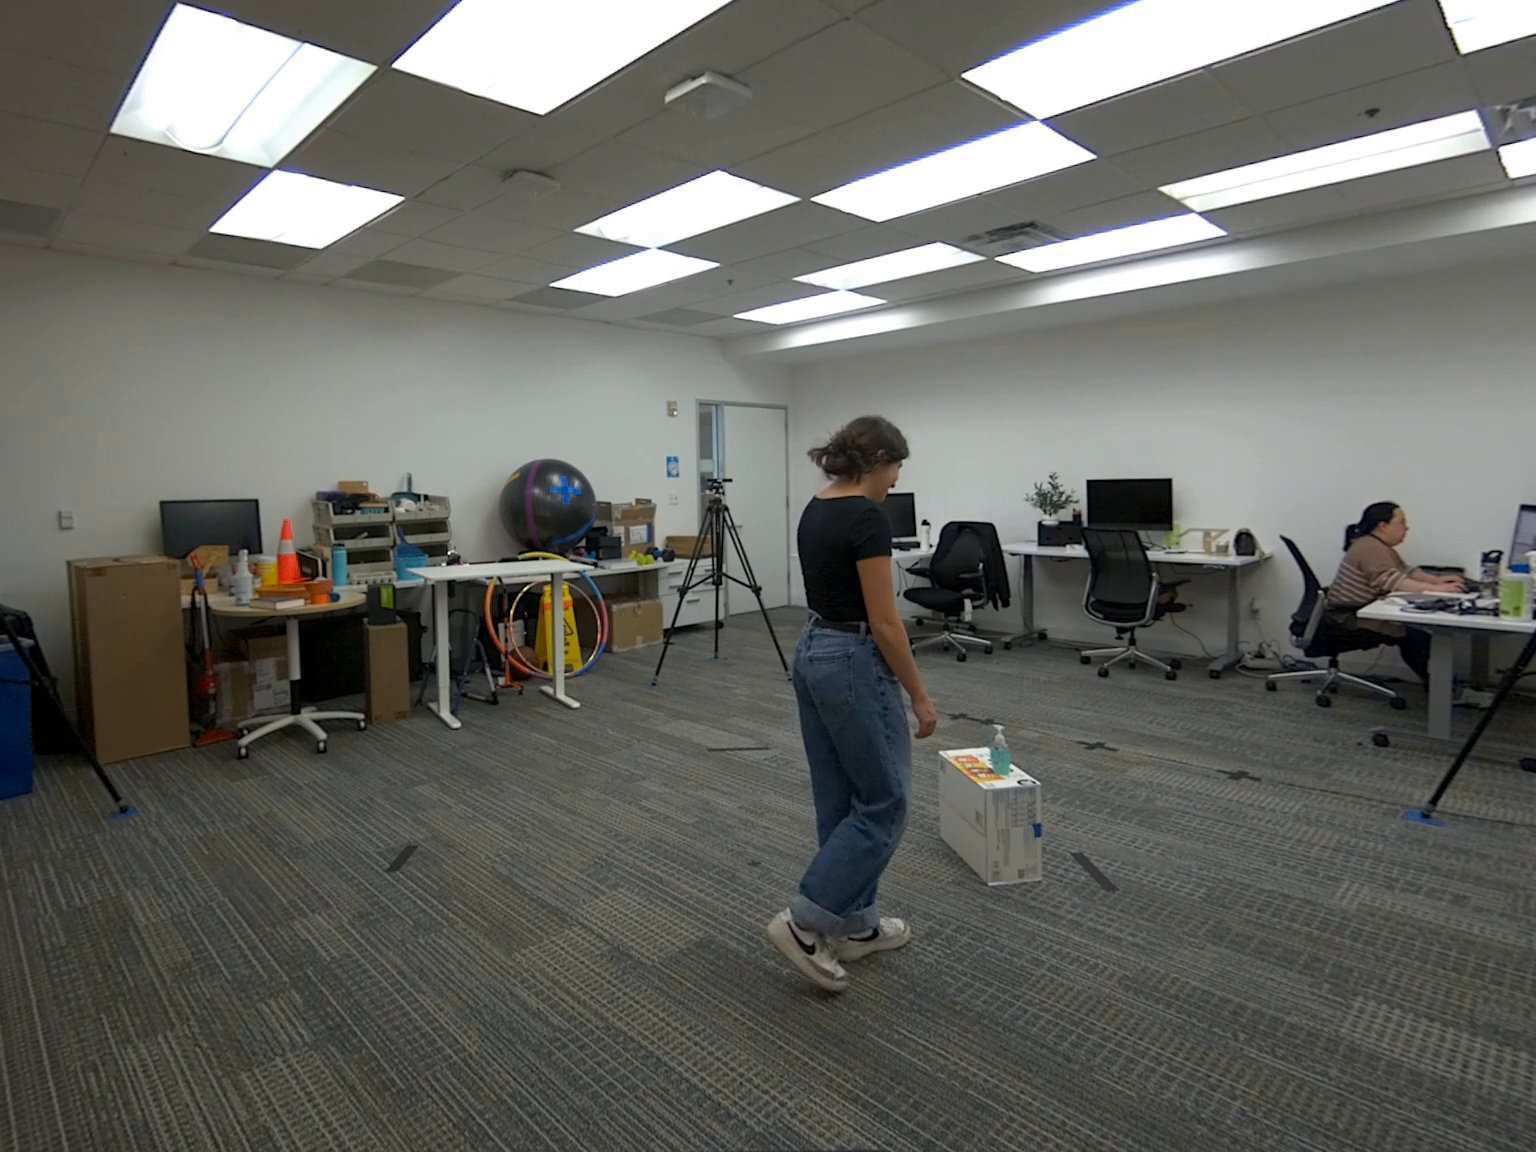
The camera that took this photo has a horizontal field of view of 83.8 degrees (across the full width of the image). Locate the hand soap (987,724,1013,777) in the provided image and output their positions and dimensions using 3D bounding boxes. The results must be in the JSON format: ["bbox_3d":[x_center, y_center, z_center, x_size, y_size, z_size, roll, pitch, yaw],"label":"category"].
[{"bbox_3d":[0.831,0.616,3.038,0.042,0.167,0.086,-5,5,-23],"label":"hand soap"}]
